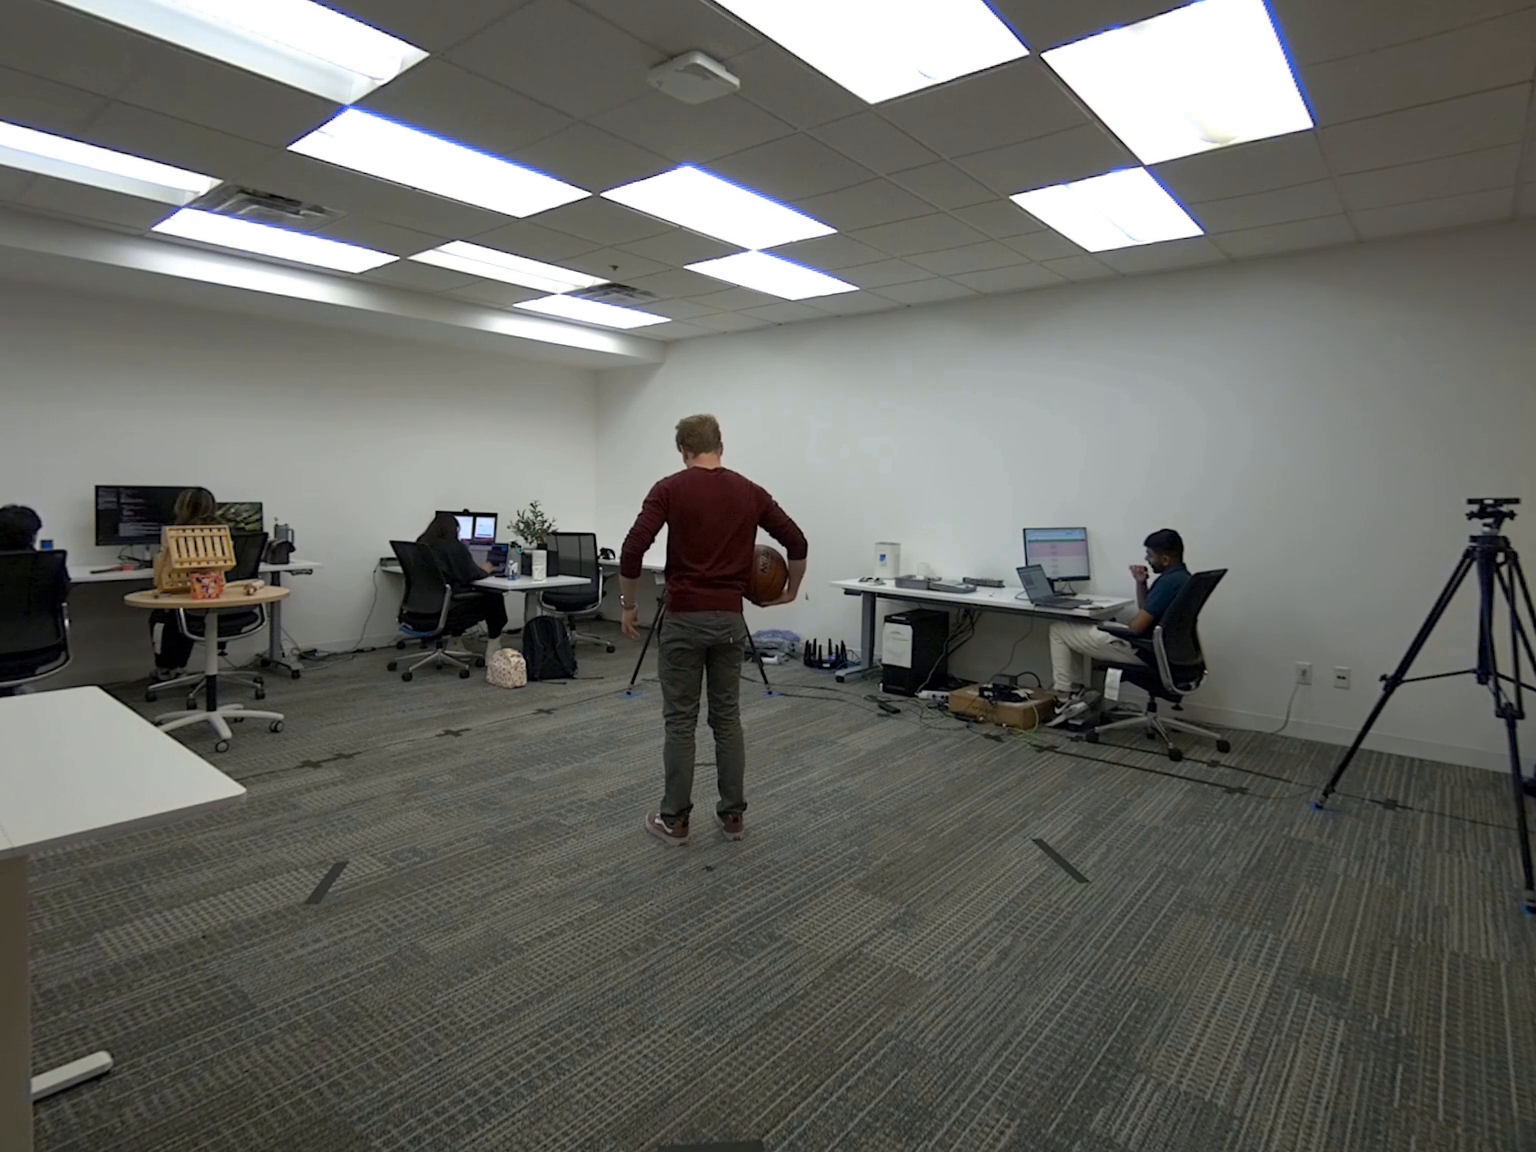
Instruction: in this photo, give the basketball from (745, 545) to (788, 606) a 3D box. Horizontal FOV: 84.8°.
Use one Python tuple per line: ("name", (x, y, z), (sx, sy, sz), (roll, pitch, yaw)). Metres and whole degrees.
("basketball", (-0.052, -0.016, 3.523), (0.235, 0.235, 0.237), (1, 4, -2))
